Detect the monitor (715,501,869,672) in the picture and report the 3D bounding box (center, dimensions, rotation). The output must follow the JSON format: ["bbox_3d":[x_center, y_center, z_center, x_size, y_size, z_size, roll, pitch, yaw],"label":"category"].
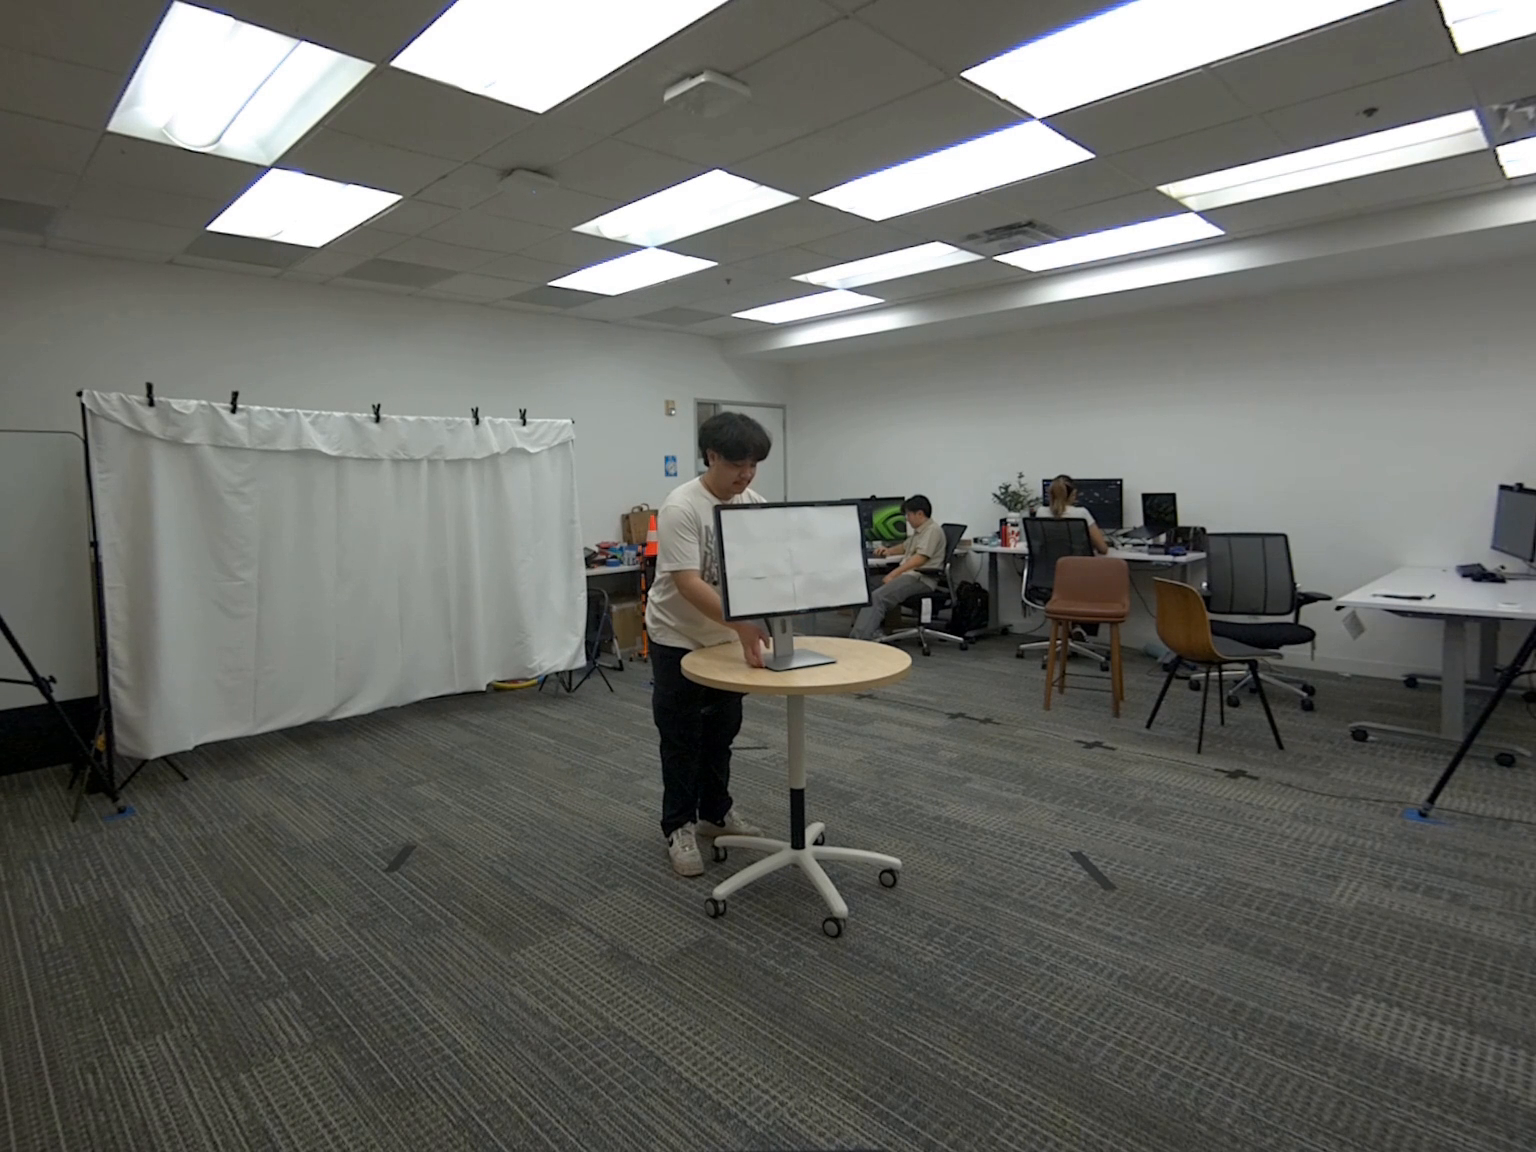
[{"bbox_3d":[0.059,0.029,2.820,0.552,0.553,0.215,-4,1,-30],"label":"monitor"}]
